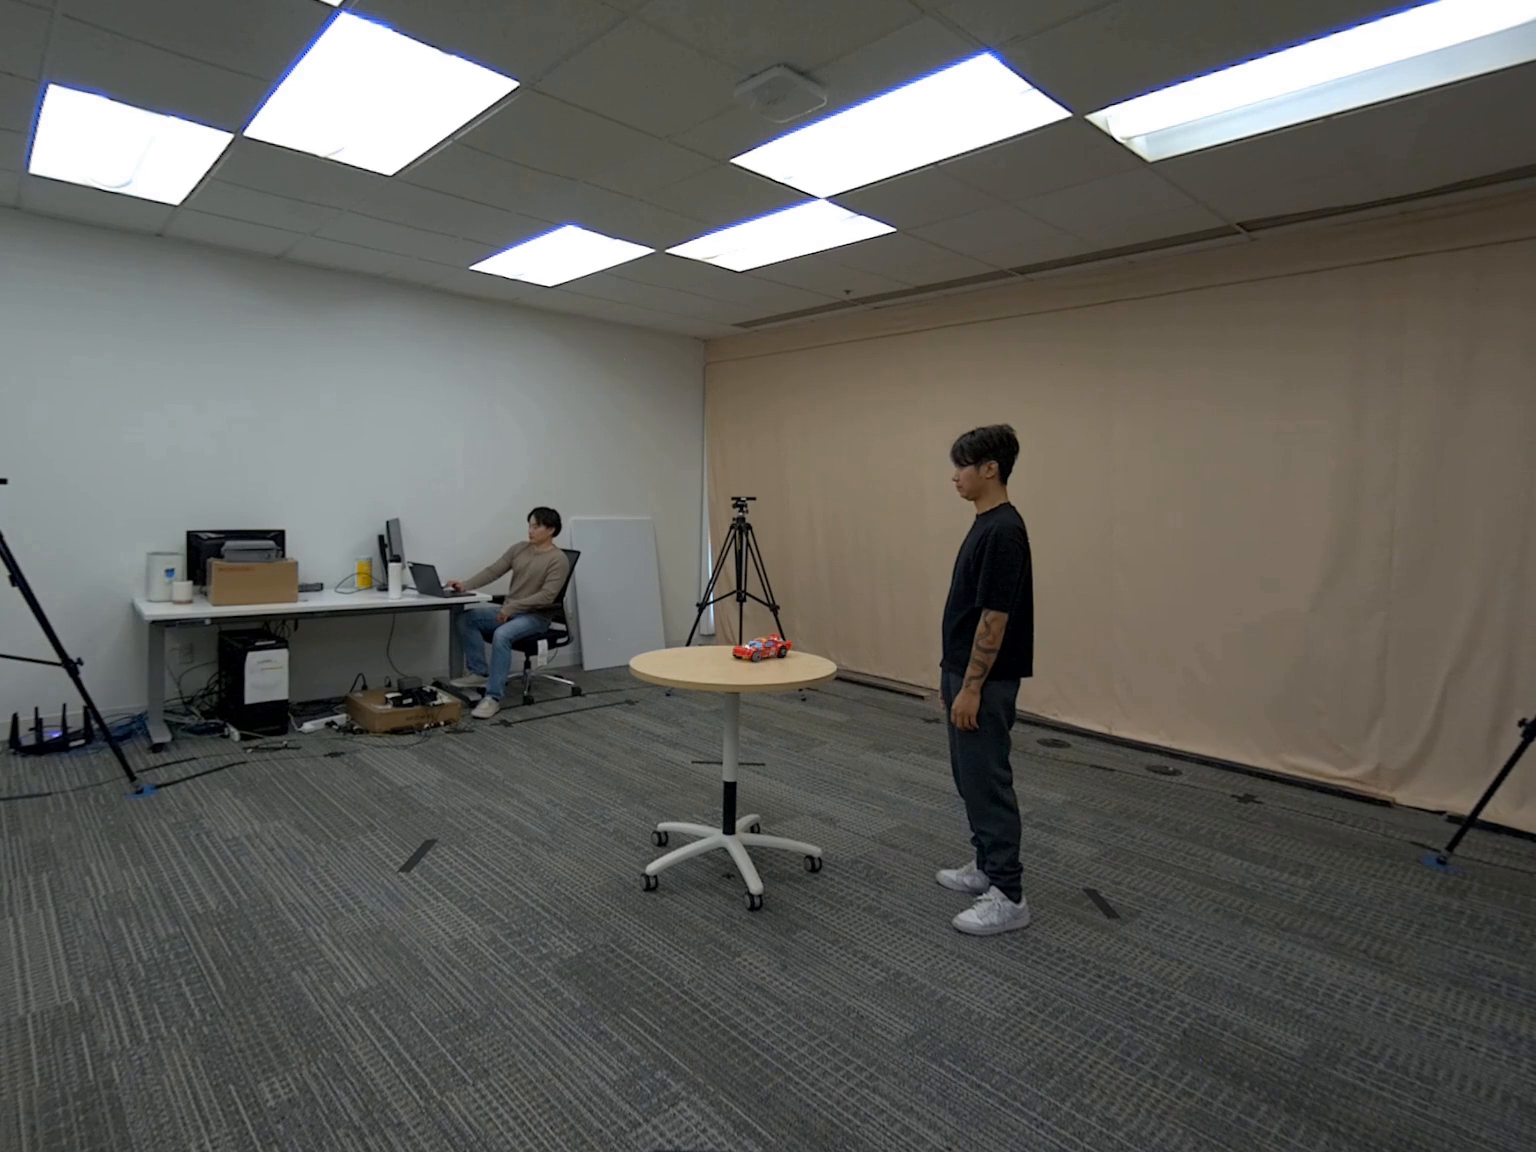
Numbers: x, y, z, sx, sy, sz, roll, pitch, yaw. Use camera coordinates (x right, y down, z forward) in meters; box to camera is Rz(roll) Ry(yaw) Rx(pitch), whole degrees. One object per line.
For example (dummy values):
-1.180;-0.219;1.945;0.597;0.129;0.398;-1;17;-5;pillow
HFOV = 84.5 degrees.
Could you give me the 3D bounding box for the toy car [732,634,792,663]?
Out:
-0.019;0.282;3.246;0.250;0.082;0.133;-17;15;-43;toy car
